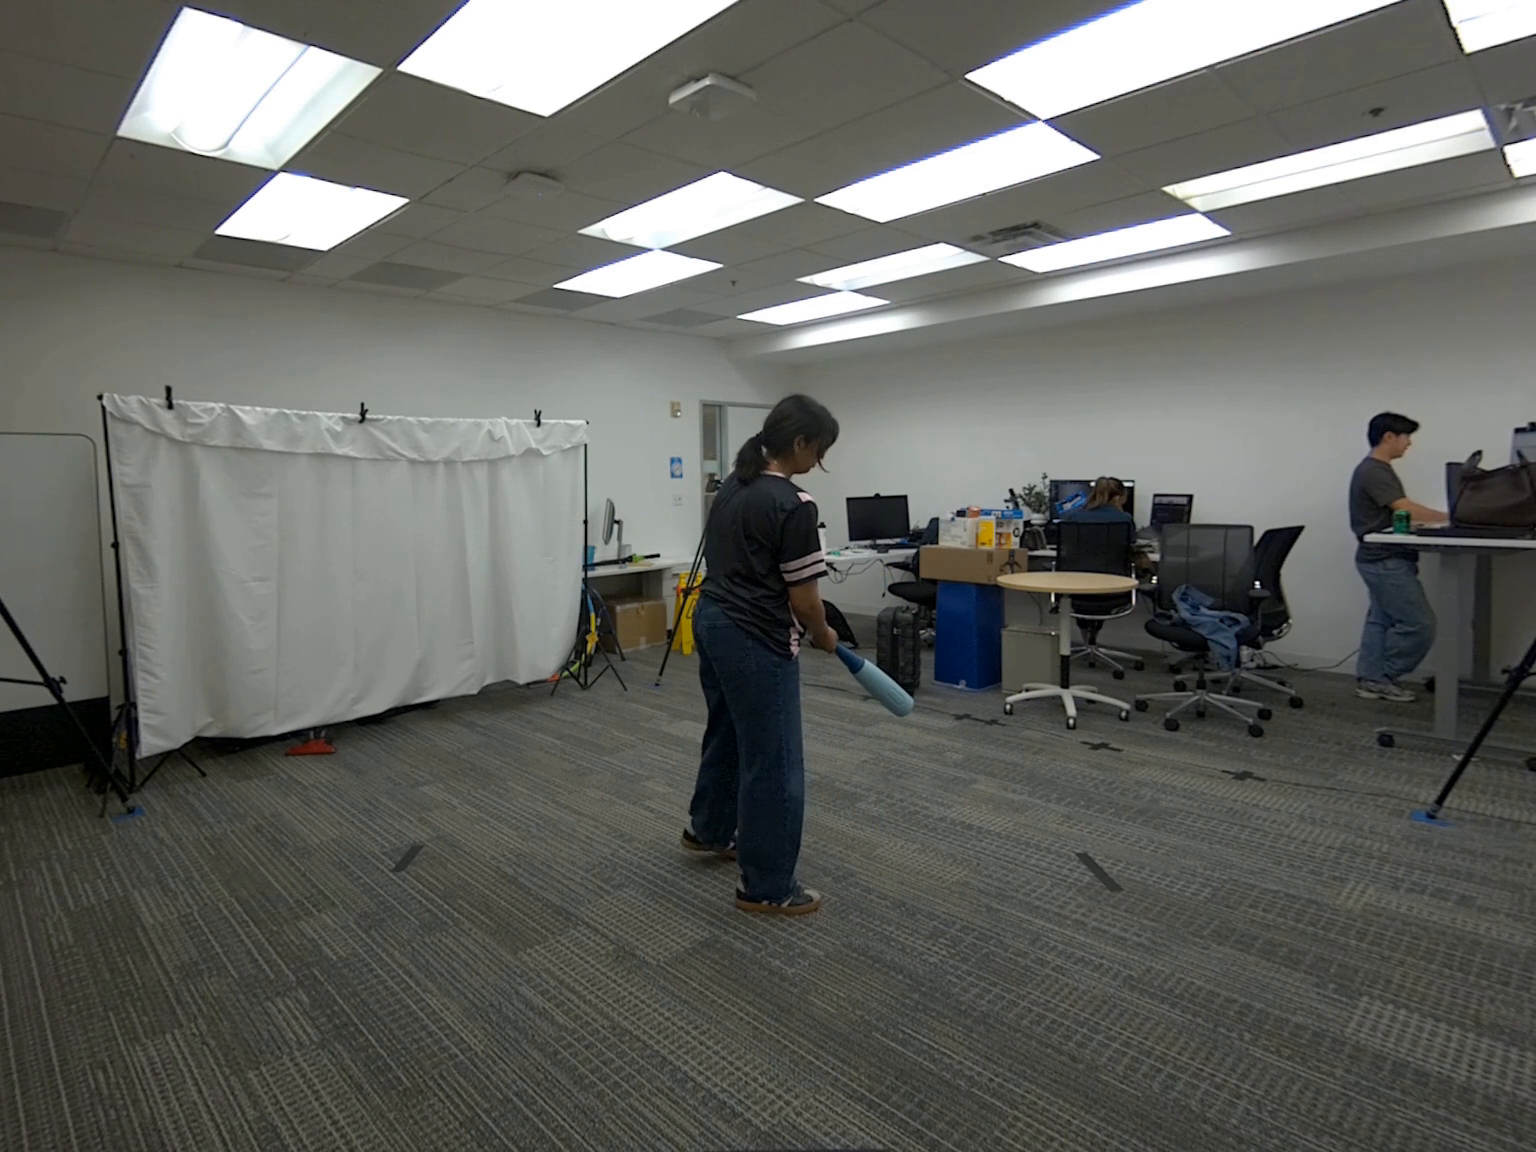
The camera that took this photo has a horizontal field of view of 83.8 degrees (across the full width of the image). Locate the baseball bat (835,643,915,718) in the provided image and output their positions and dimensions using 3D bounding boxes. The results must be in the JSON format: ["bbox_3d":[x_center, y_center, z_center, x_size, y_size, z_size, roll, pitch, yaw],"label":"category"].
[{"bbox_3d":[0.291,0.294,2.946,0.533,0.089,0.090,41,-8,-14],"label":"baseball bat"}]
